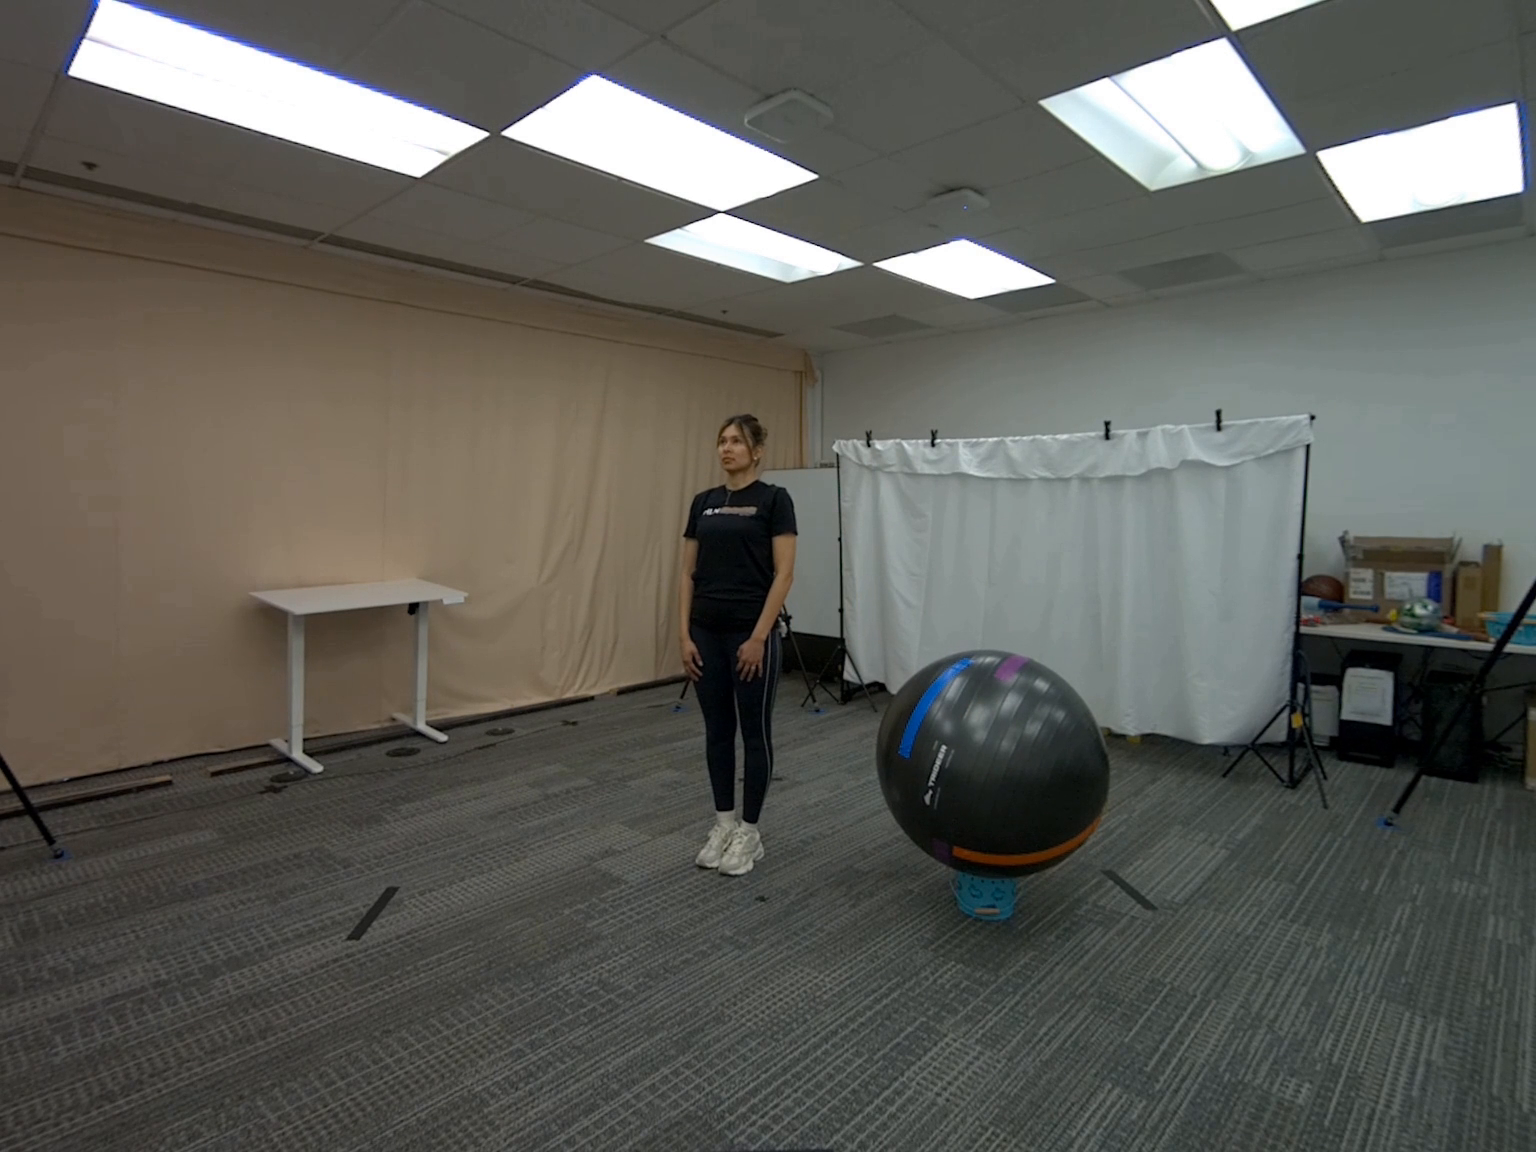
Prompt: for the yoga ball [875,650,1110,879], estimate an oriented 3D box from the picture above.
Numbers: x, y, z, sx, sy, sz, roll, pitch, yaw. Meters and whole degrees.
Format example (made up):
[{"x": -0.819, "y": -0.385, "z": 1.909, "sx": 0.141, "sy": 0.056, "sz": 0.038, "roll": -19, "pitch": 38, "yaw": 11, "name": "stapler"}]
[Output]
[{"x": 0.768, "y": 0.644, "z": 2.896, "sx": 0.757, "sy": 0.756, "sz": 0.761, "roll": 0, "pitch": 4, "yaw": -2, "name": "yoga ball"}]
